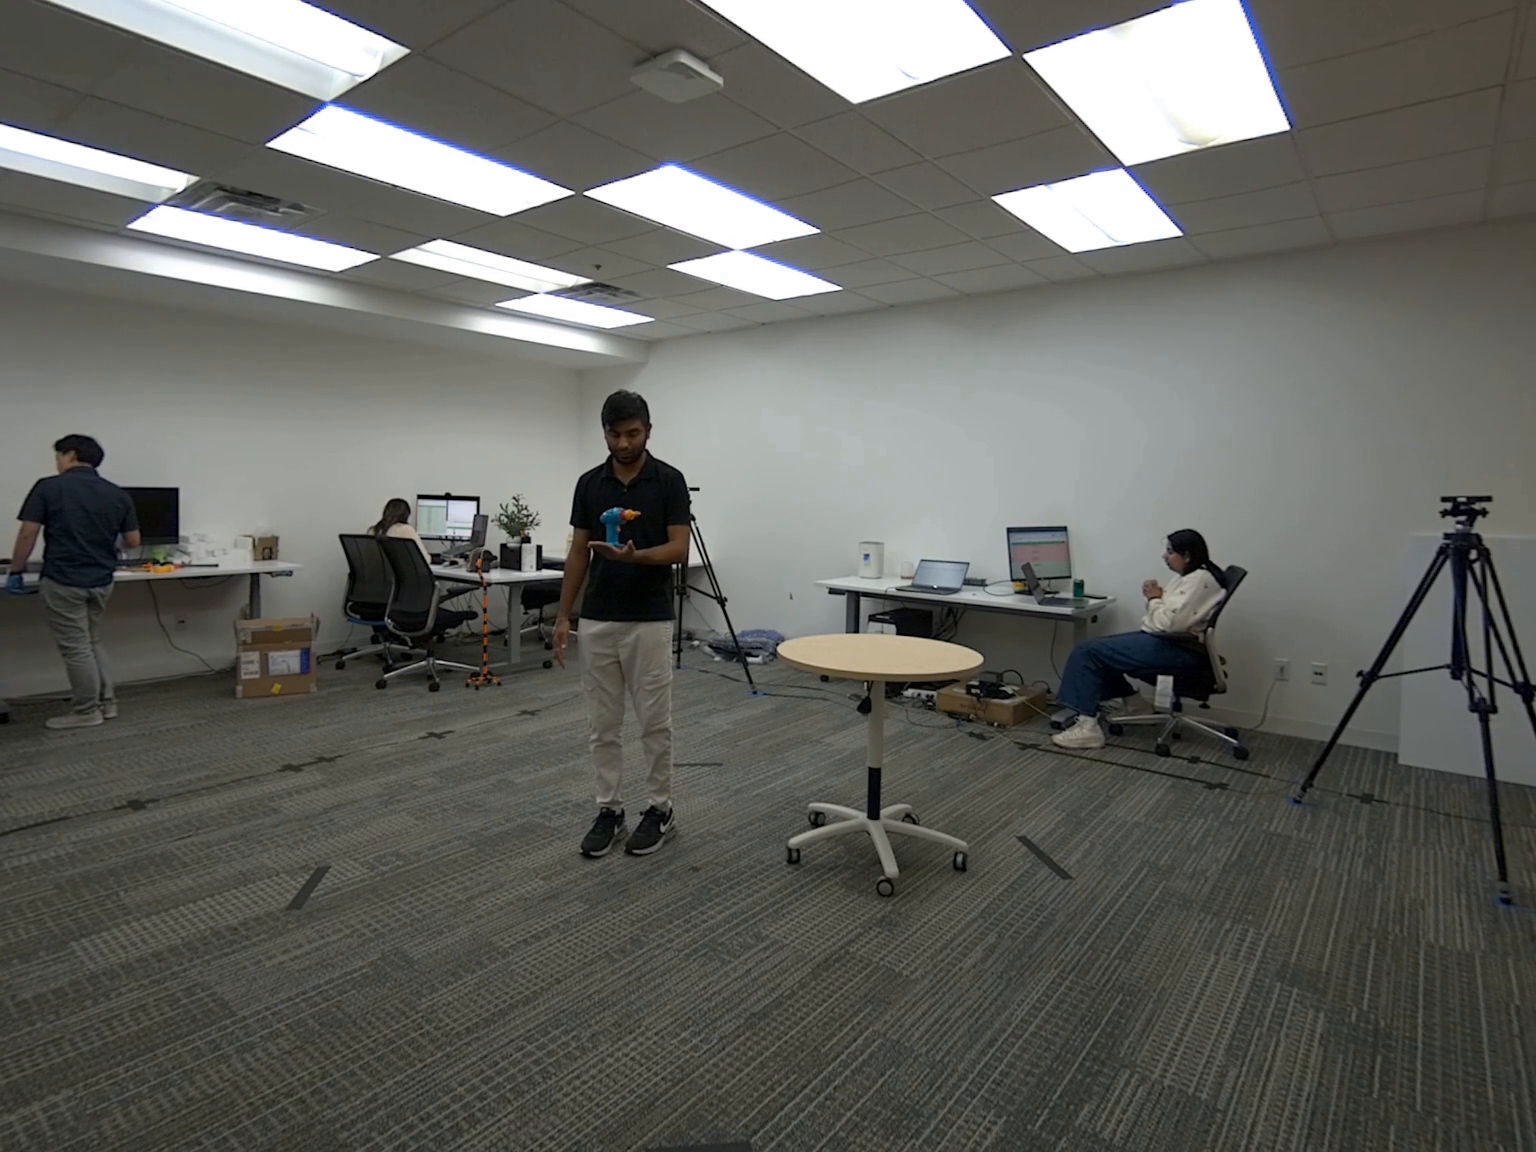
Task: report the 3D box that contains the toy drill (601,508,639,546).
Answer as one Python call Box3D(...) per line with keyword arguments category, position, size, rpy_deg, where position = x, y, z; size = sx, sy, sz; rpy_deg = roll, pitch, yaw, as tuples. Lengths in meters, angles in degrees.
Box3D(category="toy drill", position=(-0.544, -0.174, 2.963), size=(0.174, 0.146, 0.059), rpy_deg=(-6, -3, 30))
